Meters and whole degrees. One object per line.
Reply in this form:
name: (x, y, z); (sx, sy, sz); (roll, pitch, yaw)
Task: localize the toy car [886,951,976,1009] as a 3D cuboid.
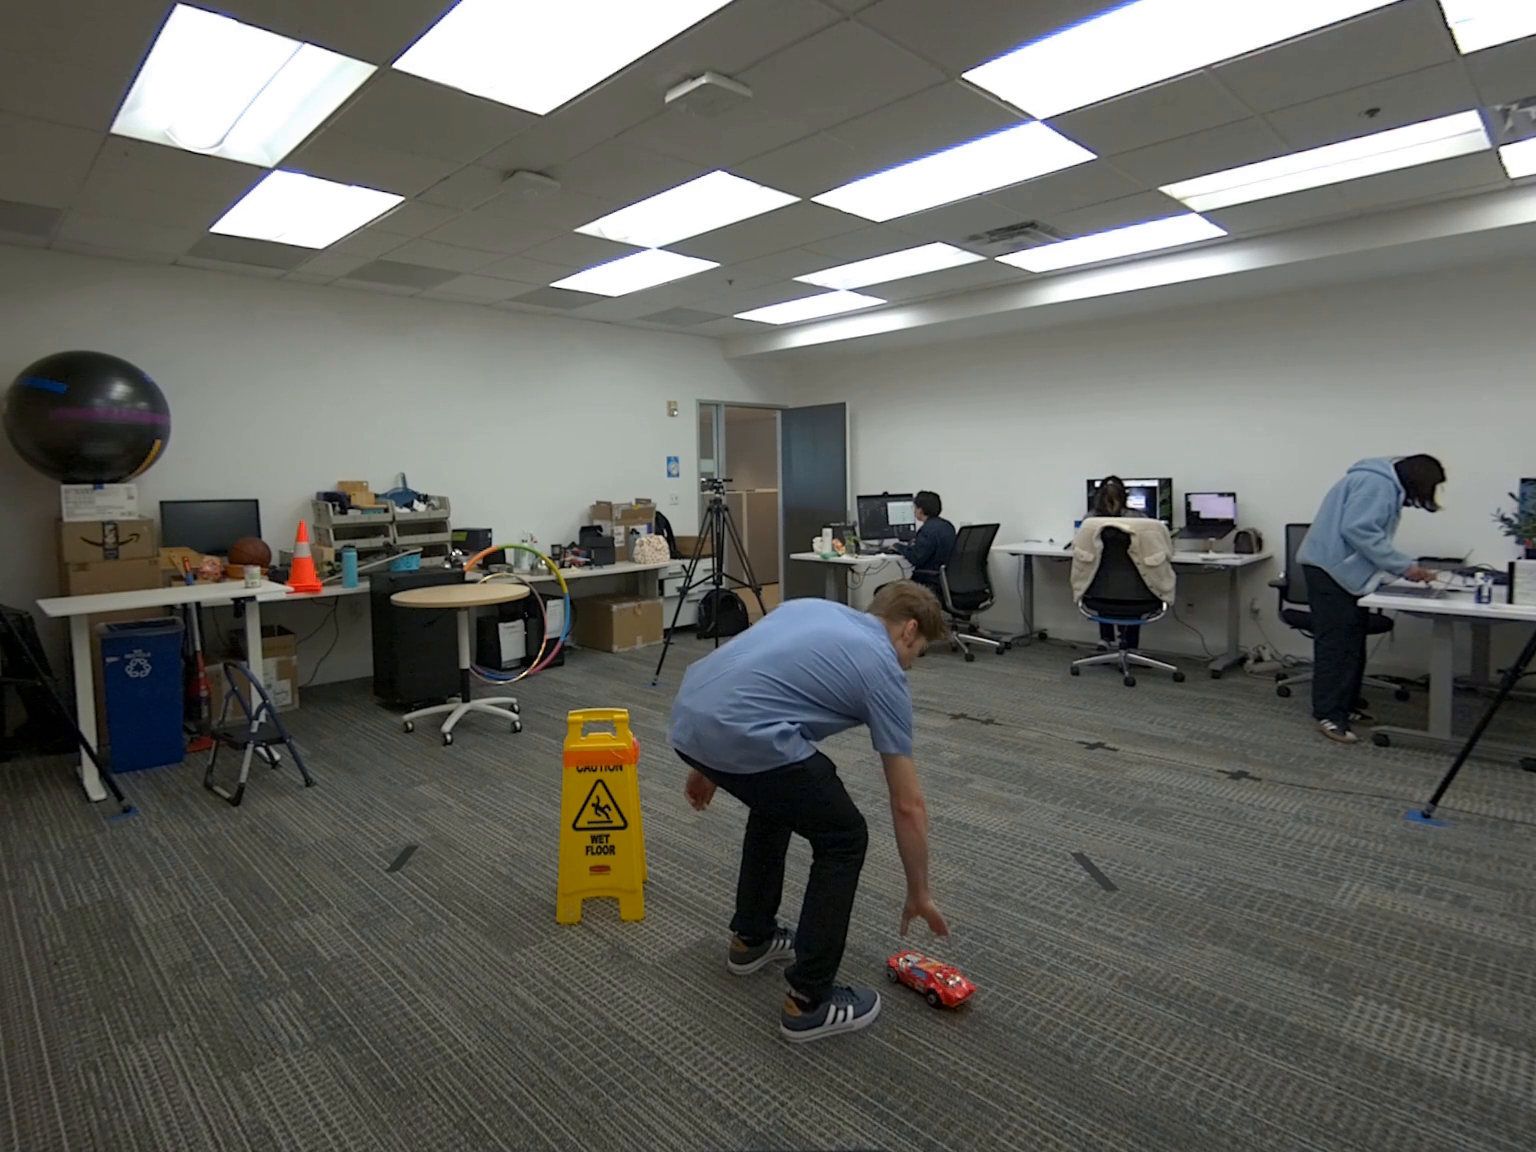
toy car: (0.447, 1.095, 2.313); (0.127, 0.083, 0.260); (-5, -3, -37)
